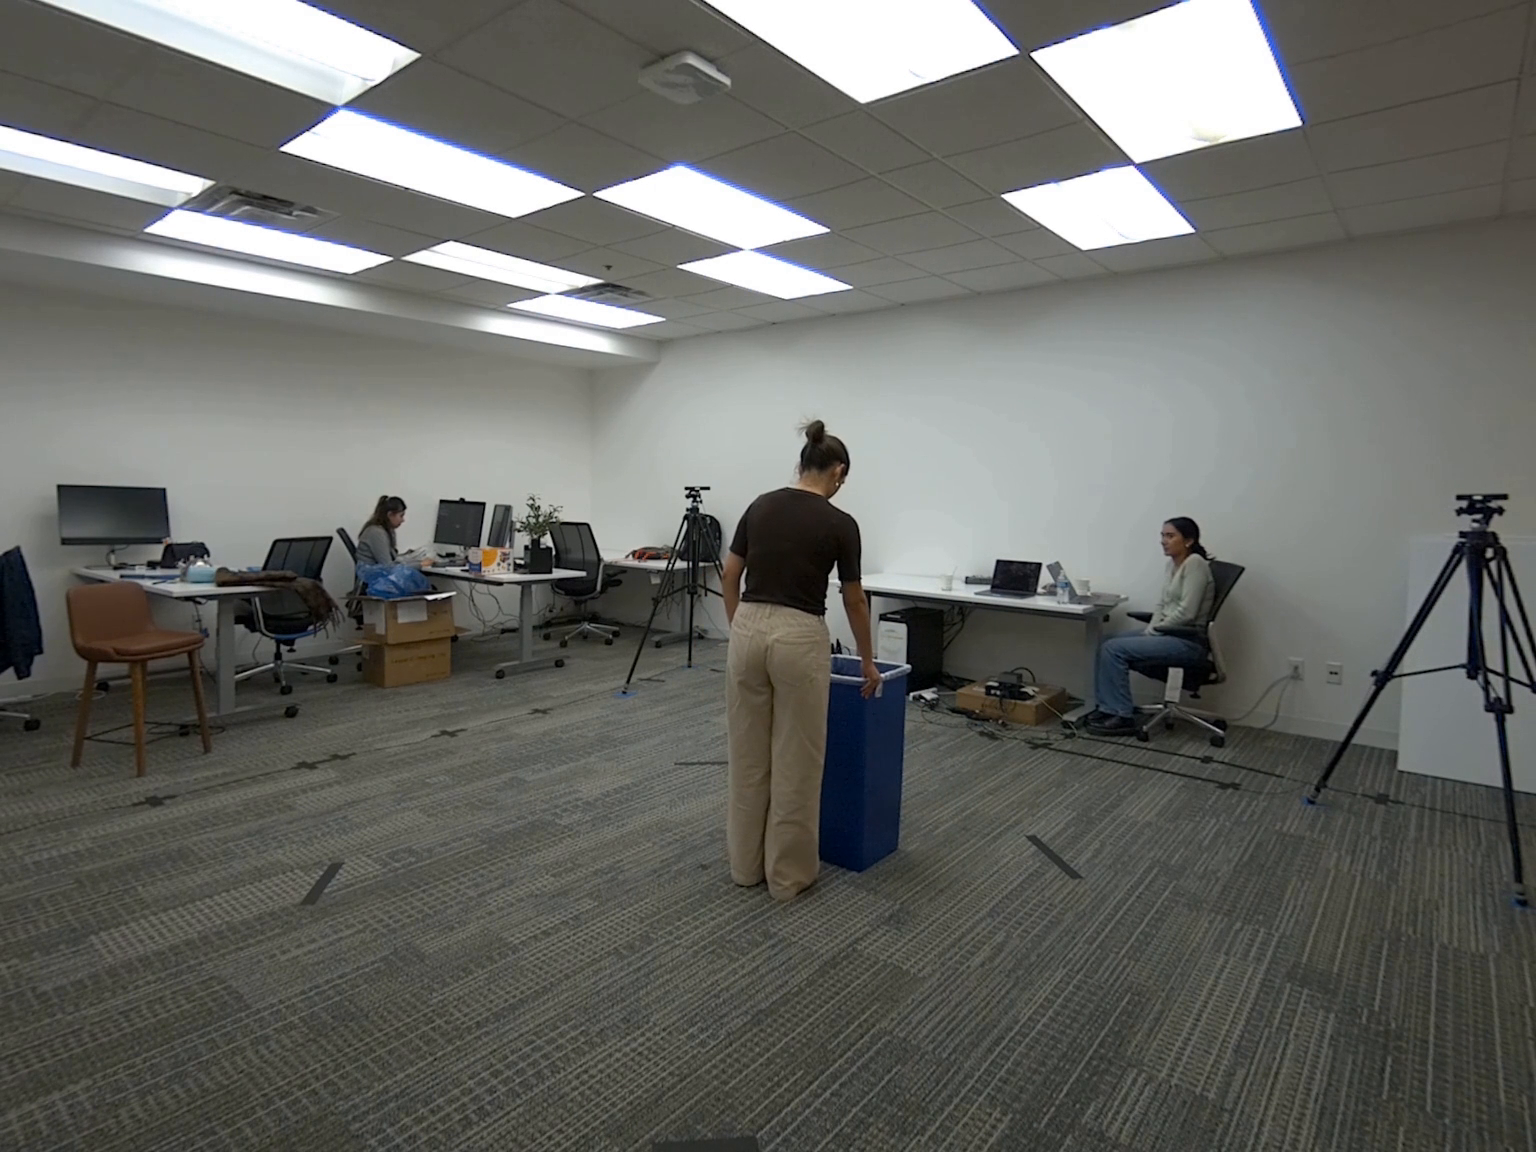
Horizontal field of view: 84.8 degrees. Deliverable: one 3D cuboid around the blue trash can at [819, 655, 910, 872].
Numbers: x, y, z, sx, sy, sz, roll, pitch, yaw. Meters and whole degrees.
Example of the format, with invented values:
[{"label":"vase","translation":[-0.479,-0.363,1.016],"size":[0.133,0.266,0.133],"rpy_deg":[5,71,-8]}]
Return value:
[{"label":"blue trash can","translation":[0.301,0.697,3.285],"size":[0.390,0.711,0.363],"rpy_deg":[3,4,37]}]
